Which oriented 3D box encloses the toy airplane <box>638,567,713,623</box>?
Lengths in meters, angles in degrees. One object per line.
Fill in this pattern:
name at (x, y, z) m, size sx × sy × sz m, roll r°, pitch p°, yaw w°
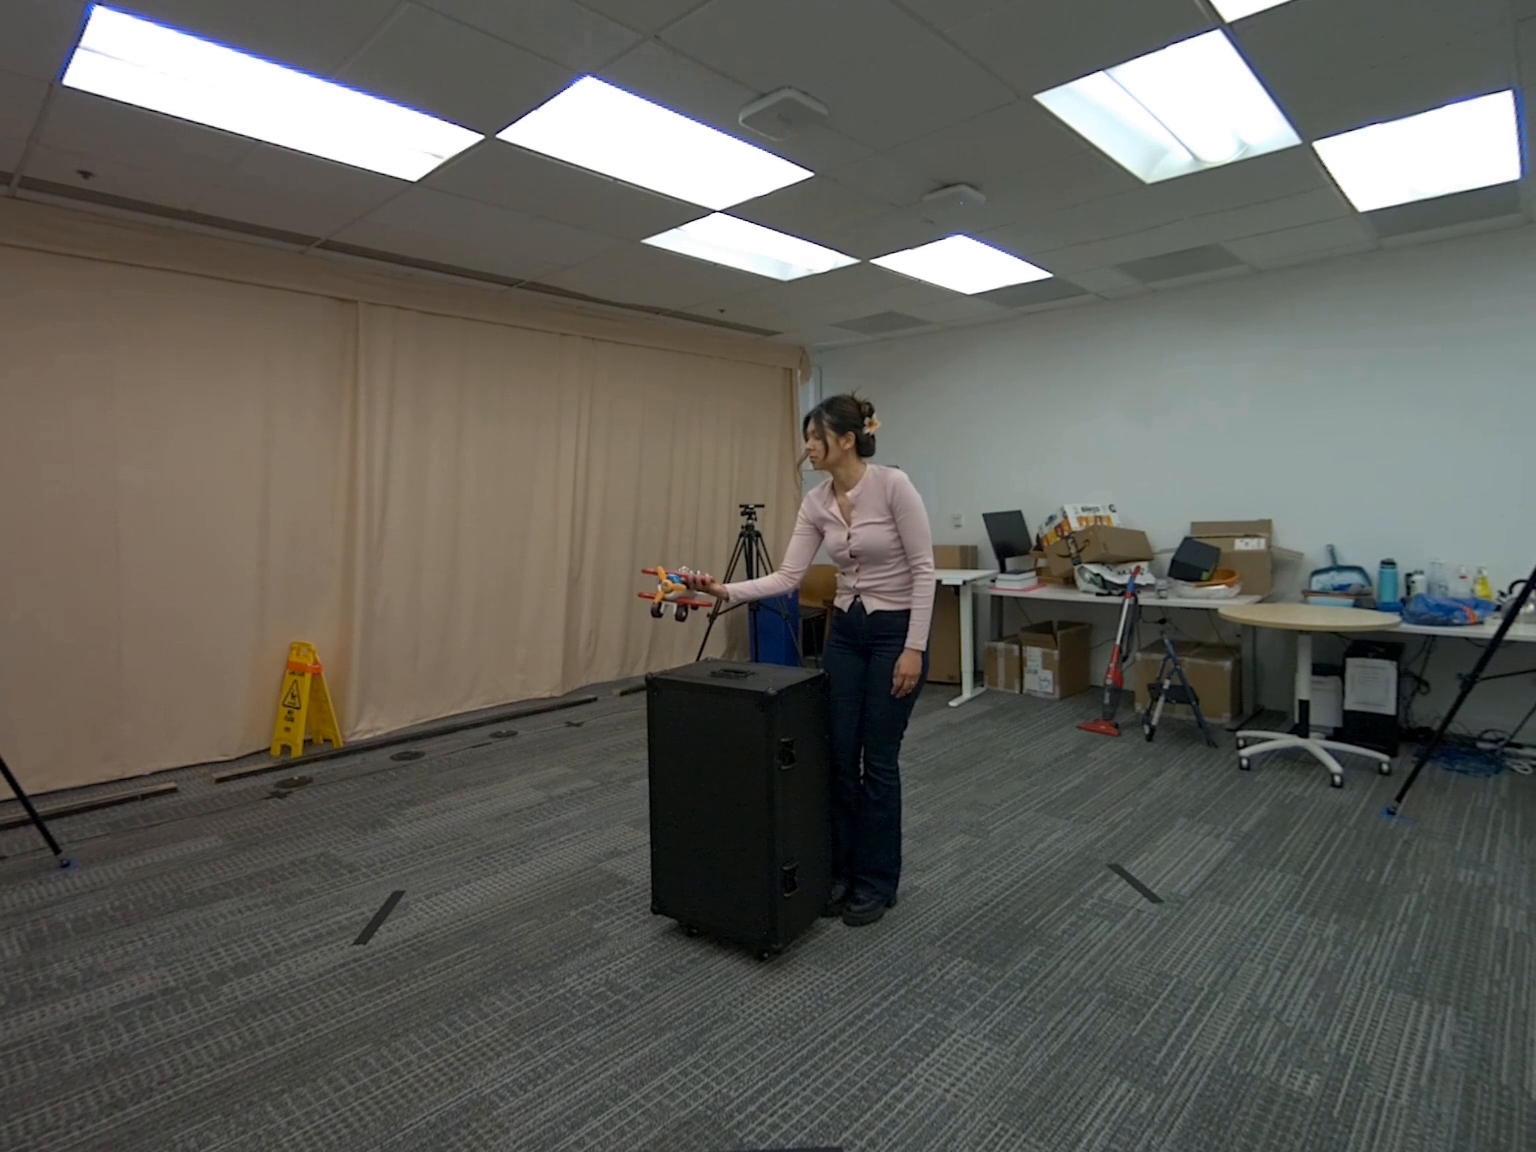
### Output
toy airplane at (-0.307, 0.058, 2.777) m, size 0.248 × 0.156 × 0.264 m, roll 4°, pitch 9°, yaw -12°
